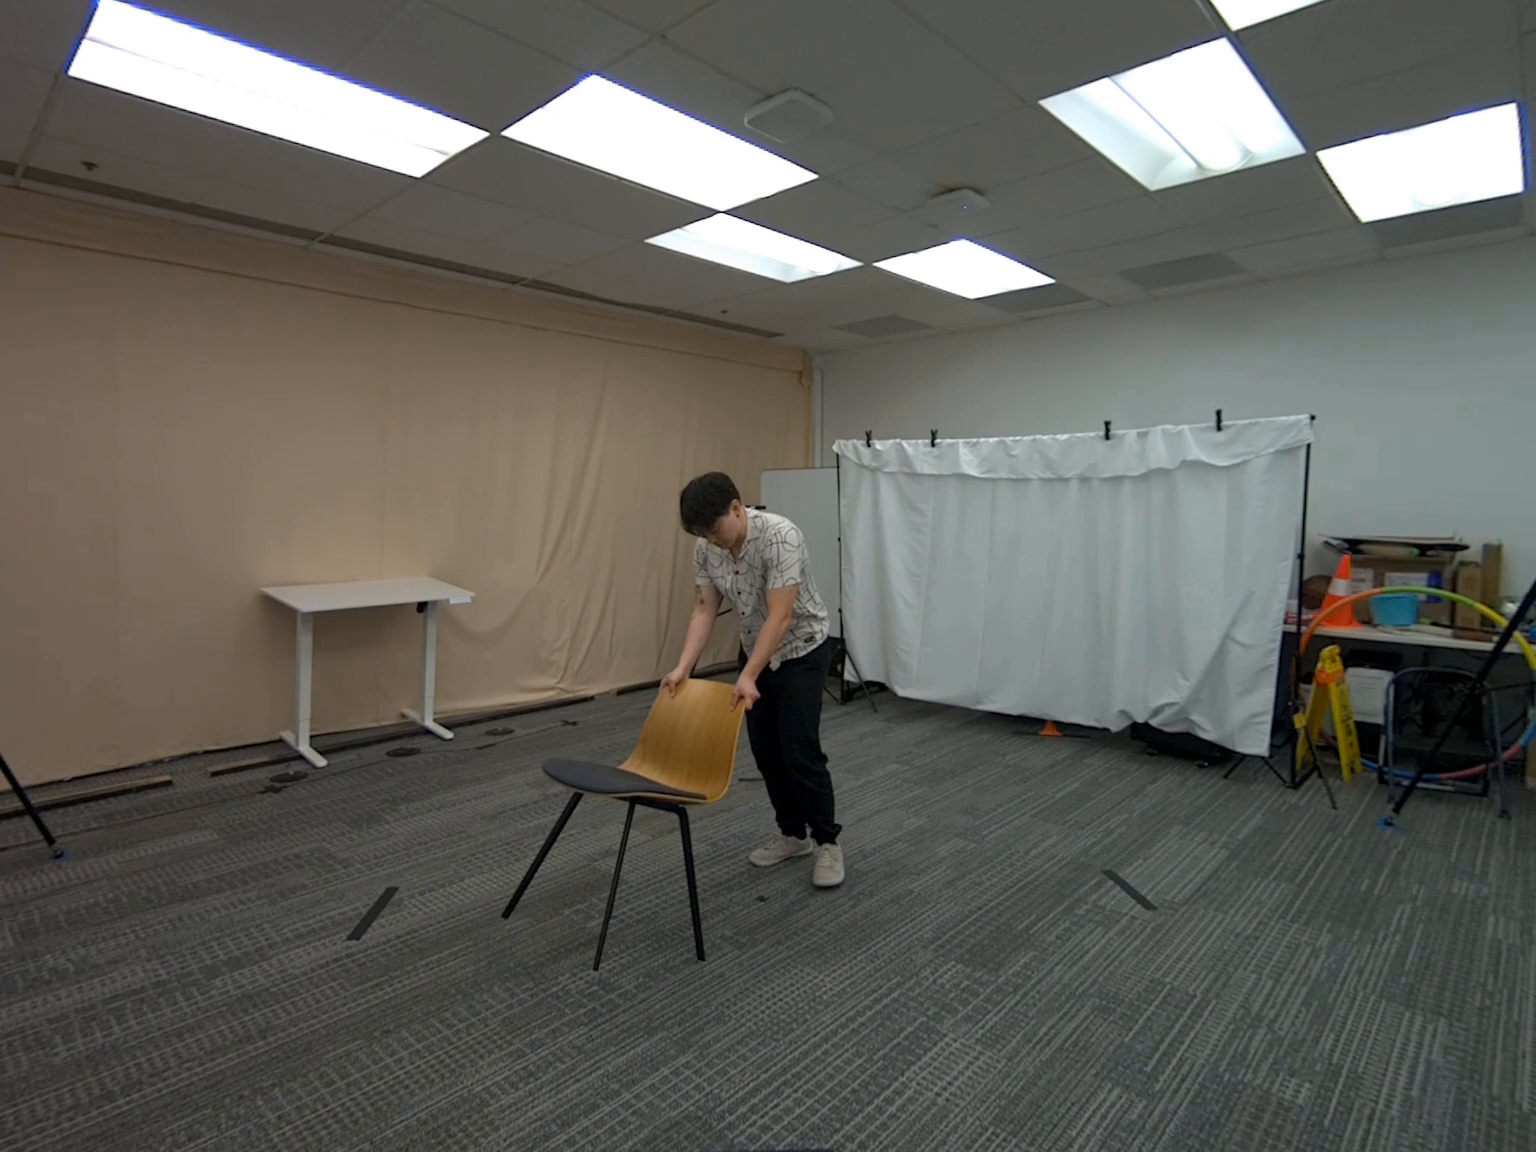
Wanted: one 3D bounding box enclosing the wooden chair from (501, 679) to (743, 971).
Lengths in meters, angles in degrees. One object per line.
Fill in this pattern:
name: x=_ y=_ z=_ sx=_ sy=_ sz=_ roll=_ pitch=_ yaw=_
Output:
wooden chair: x=-0.419 y=0.698 z=2.635 sx=0.494 sy=0.881 sz=0.504 roll=2 pitch=-19 yaw=41
